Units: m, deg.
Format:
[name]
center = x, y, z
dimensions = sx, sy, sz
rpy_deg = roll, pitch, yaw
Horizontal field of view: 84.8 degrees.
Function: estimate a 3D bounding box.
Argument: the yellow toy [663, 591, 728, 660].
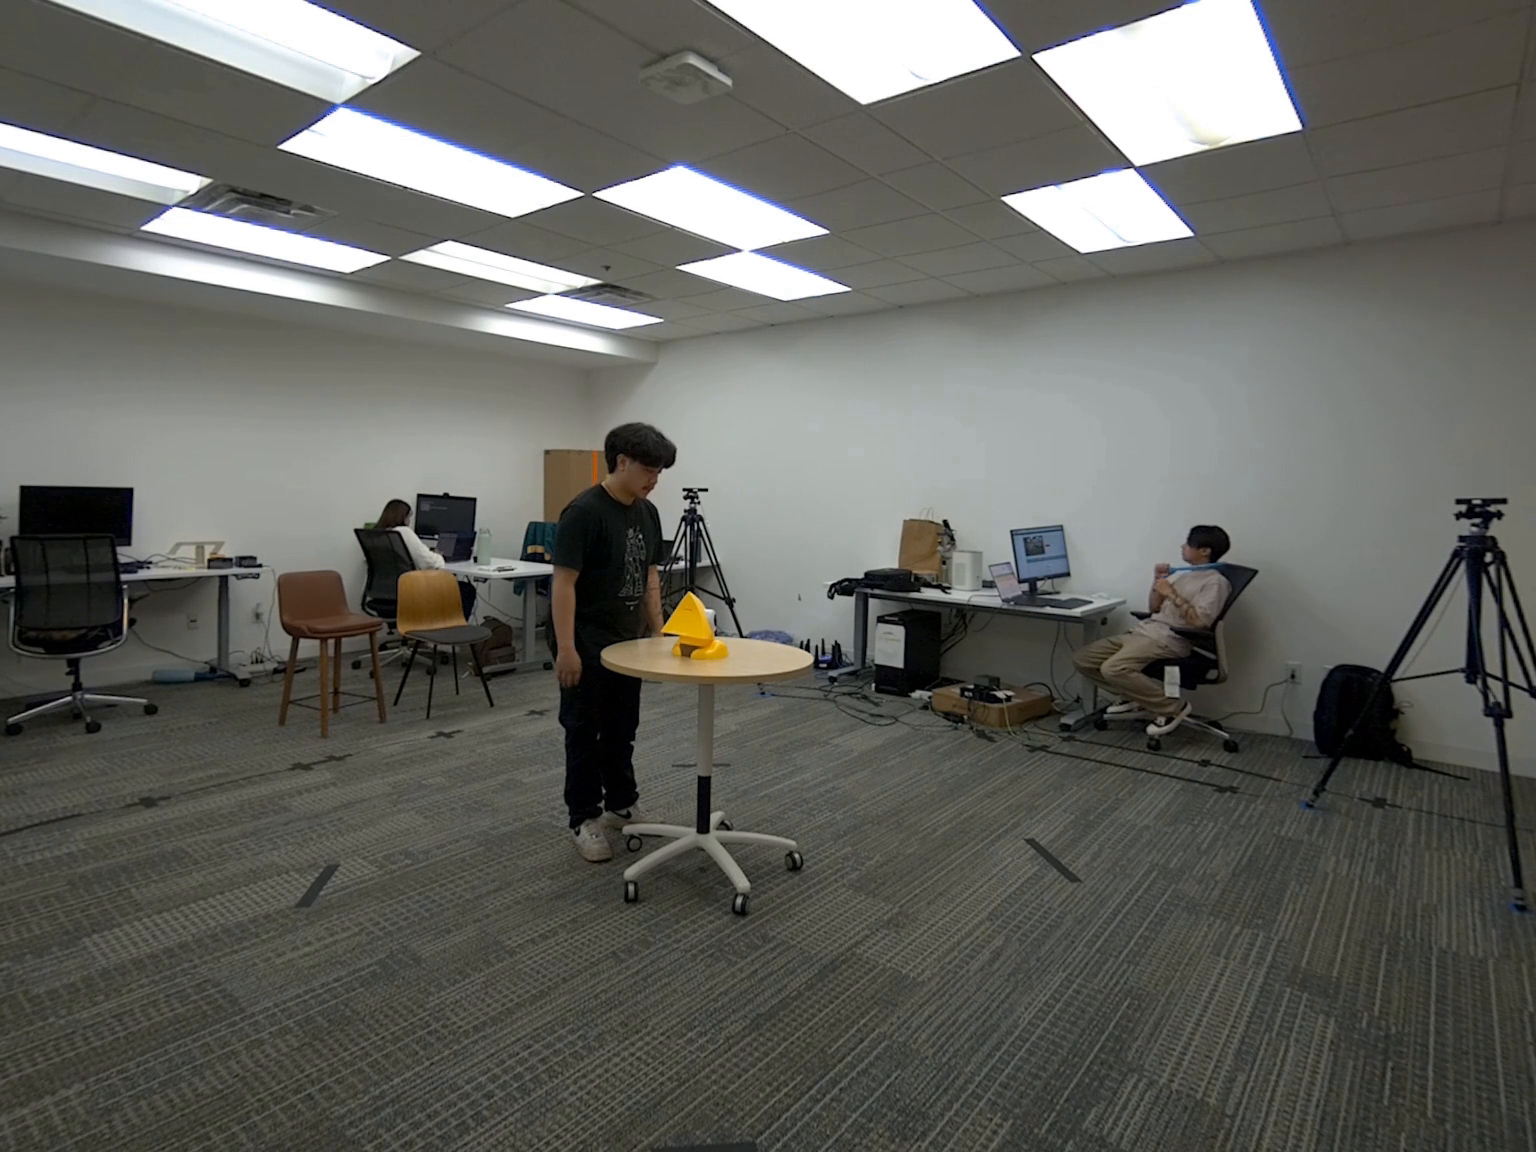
[yellow toy]
center = -0.253, 0.166, 3.058
dimensions = 0.211, 0.230, 0.187
rpy_deg = 4, 4, 37
